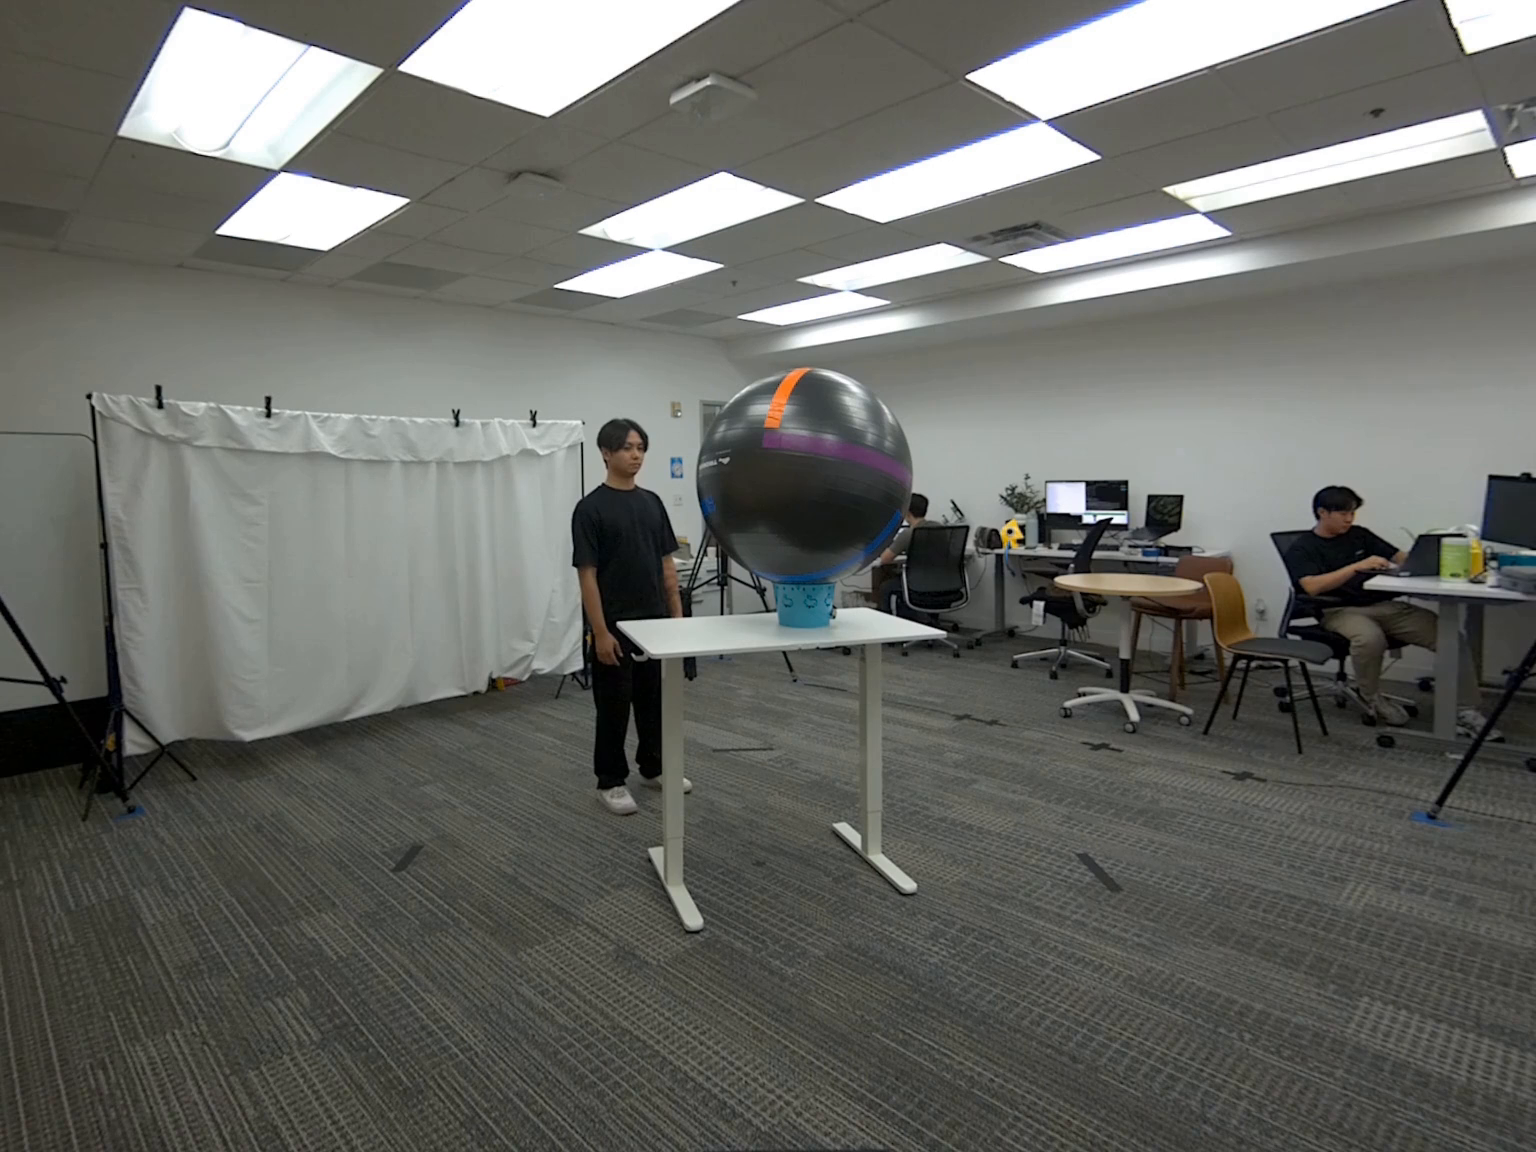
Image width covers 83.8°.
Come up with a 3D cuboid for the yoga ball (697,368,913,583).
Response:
[{"bbox_3d":[0.122,-0.342,3.012,0.757,0.755,0.762,-1,5,-2],"label":"yoga ball"}]
